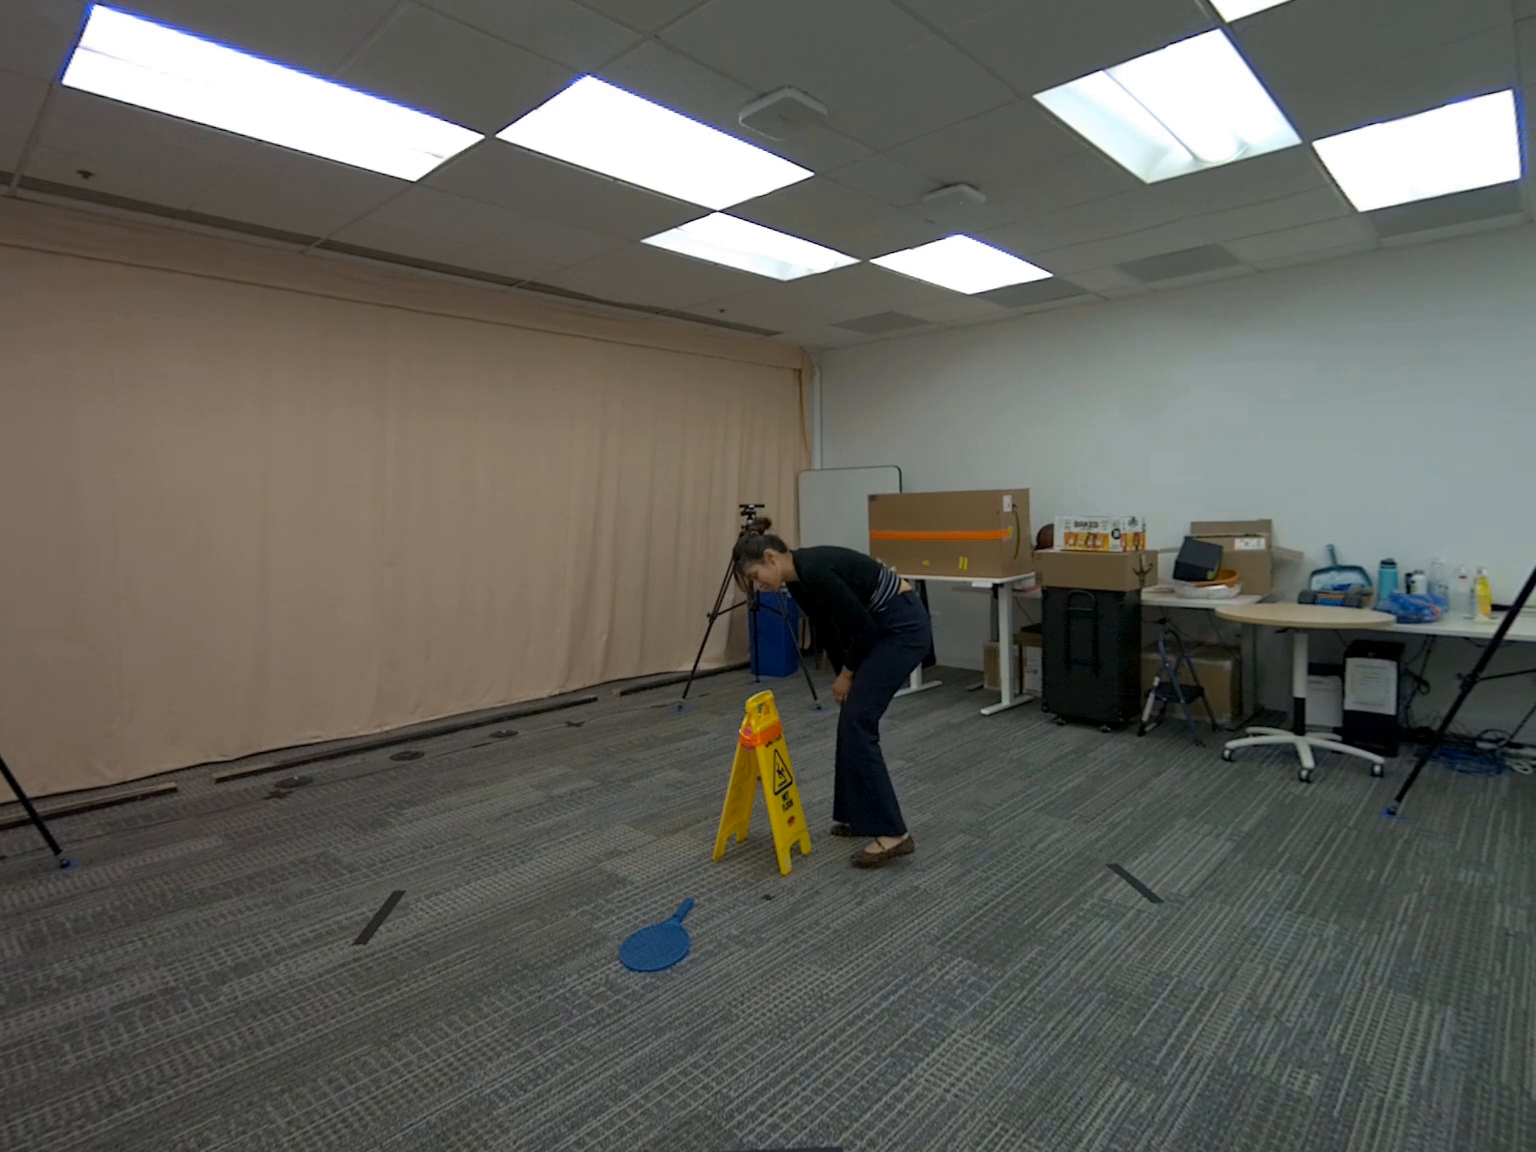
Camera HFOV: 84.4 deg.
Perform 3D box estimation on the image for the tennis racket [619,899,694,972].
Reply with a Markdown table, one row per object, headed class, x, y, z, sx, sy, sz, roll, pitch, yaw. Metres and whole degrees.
| class | x | y | z | sx | sy | sz | roll | pitch | yaw |
| --- | --- | --- | --- | --- | --- | --- | --- | --- | --- |
| tennis racket | -0.327 | 1.156 | 2.725 | 0.218 | 0.031 | 0.426 | 1 | 7 | 18 |
